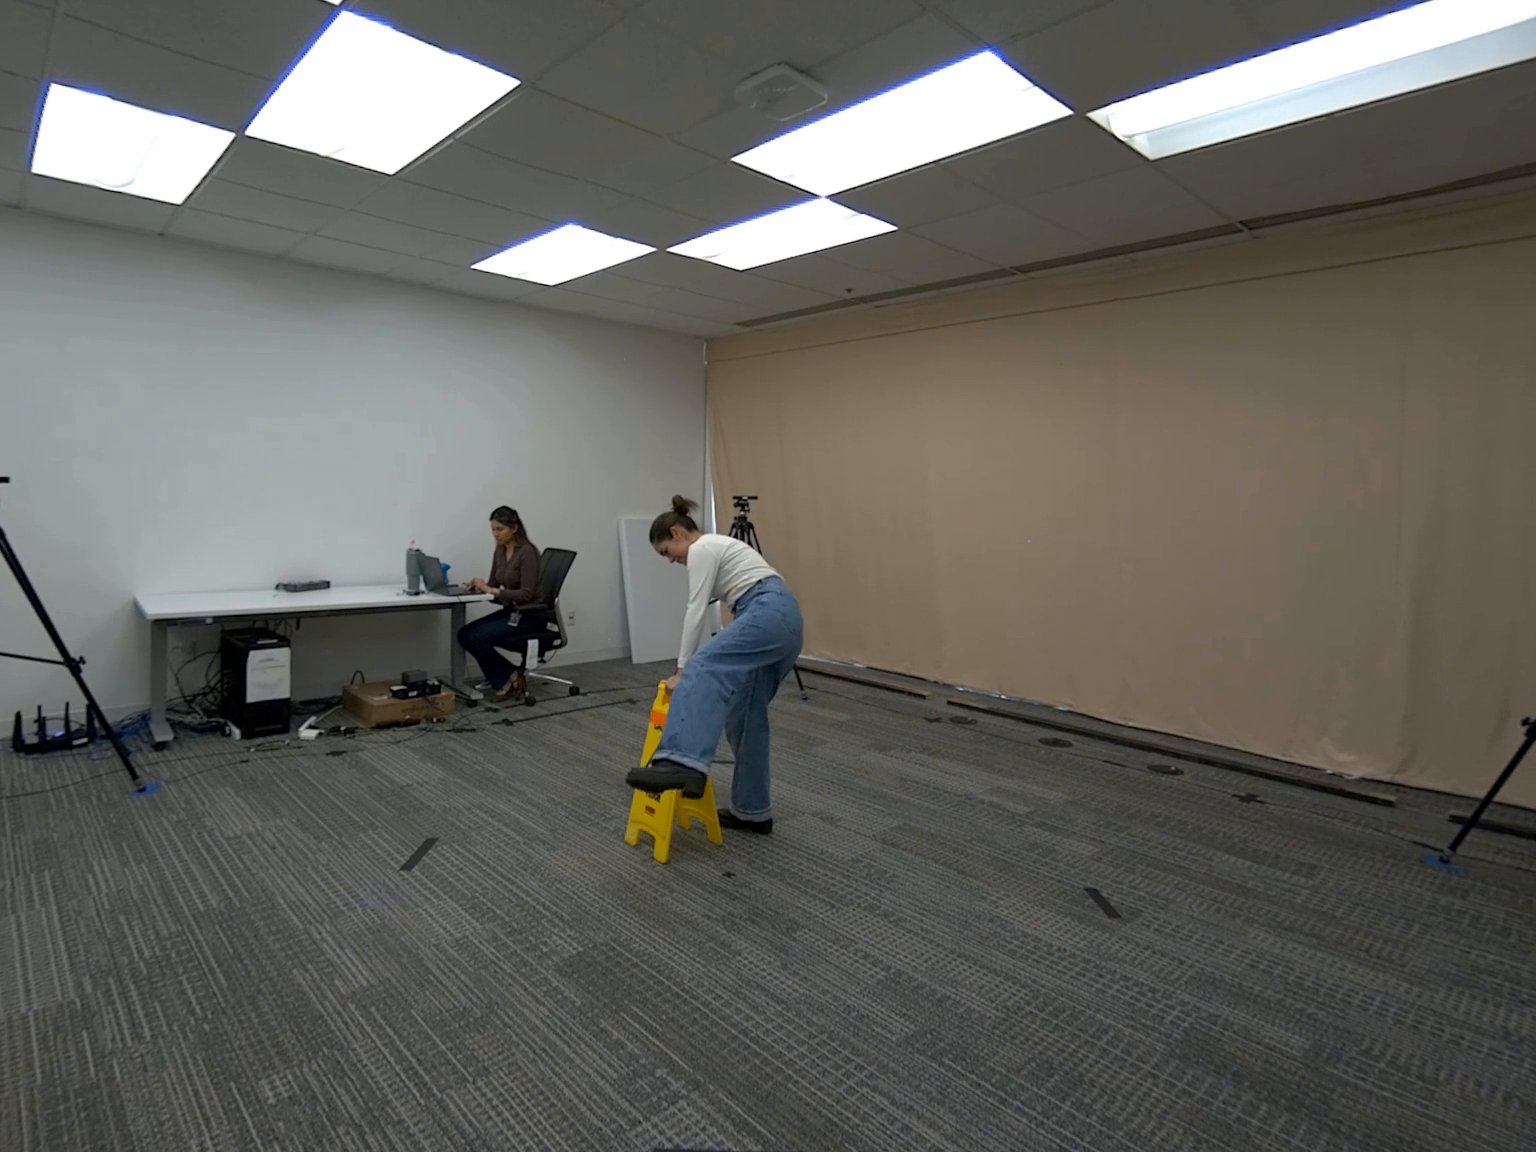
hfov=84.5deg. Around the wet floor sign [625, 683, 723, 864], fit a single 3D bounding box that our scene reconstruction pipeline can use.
[{"bbox_3d":[-0.379,0.752,3.365,0.283,0.645,0.289,-1,4,-43],"label":"wet floor sign"}]
